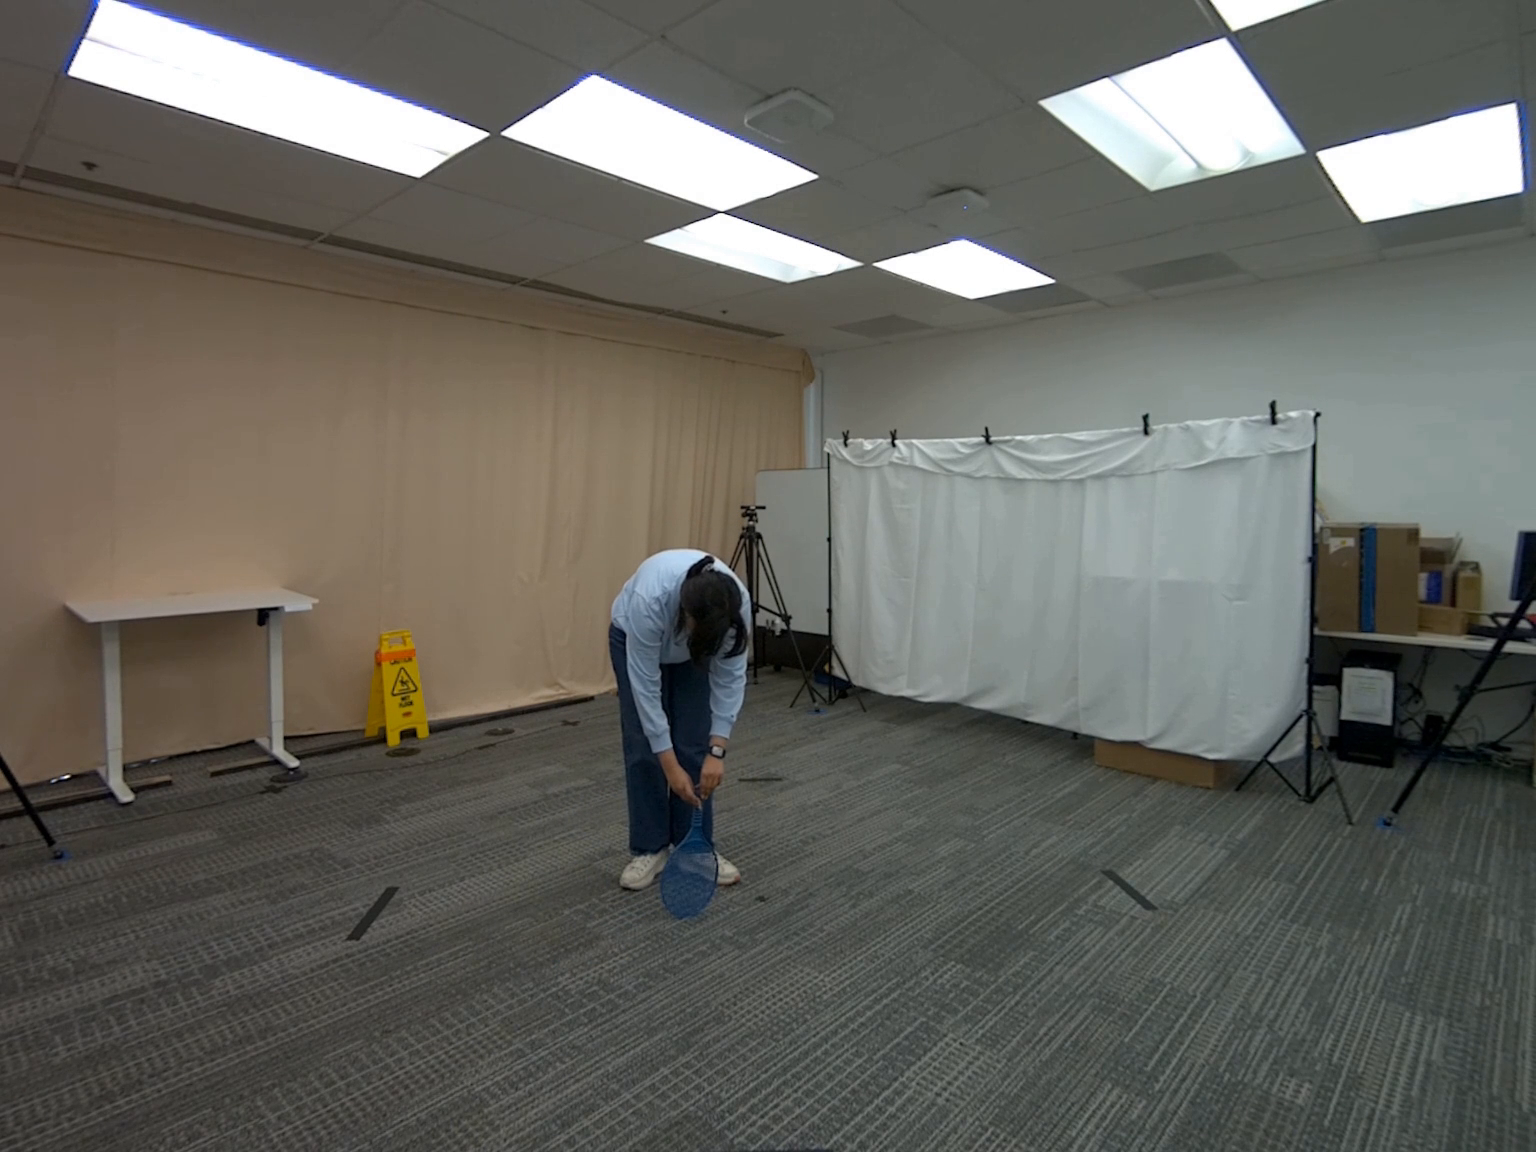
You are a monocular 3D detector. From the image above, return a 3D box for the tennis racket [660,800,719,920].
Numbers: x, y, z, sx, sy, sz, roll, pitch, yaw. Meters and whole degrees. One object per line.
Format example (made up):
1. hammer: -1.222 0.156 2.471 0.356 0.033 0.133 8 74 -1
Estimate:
1. tennis racket: -0.246 0.934 2.857 0.207 0.433 0.032 10 -3 -28
